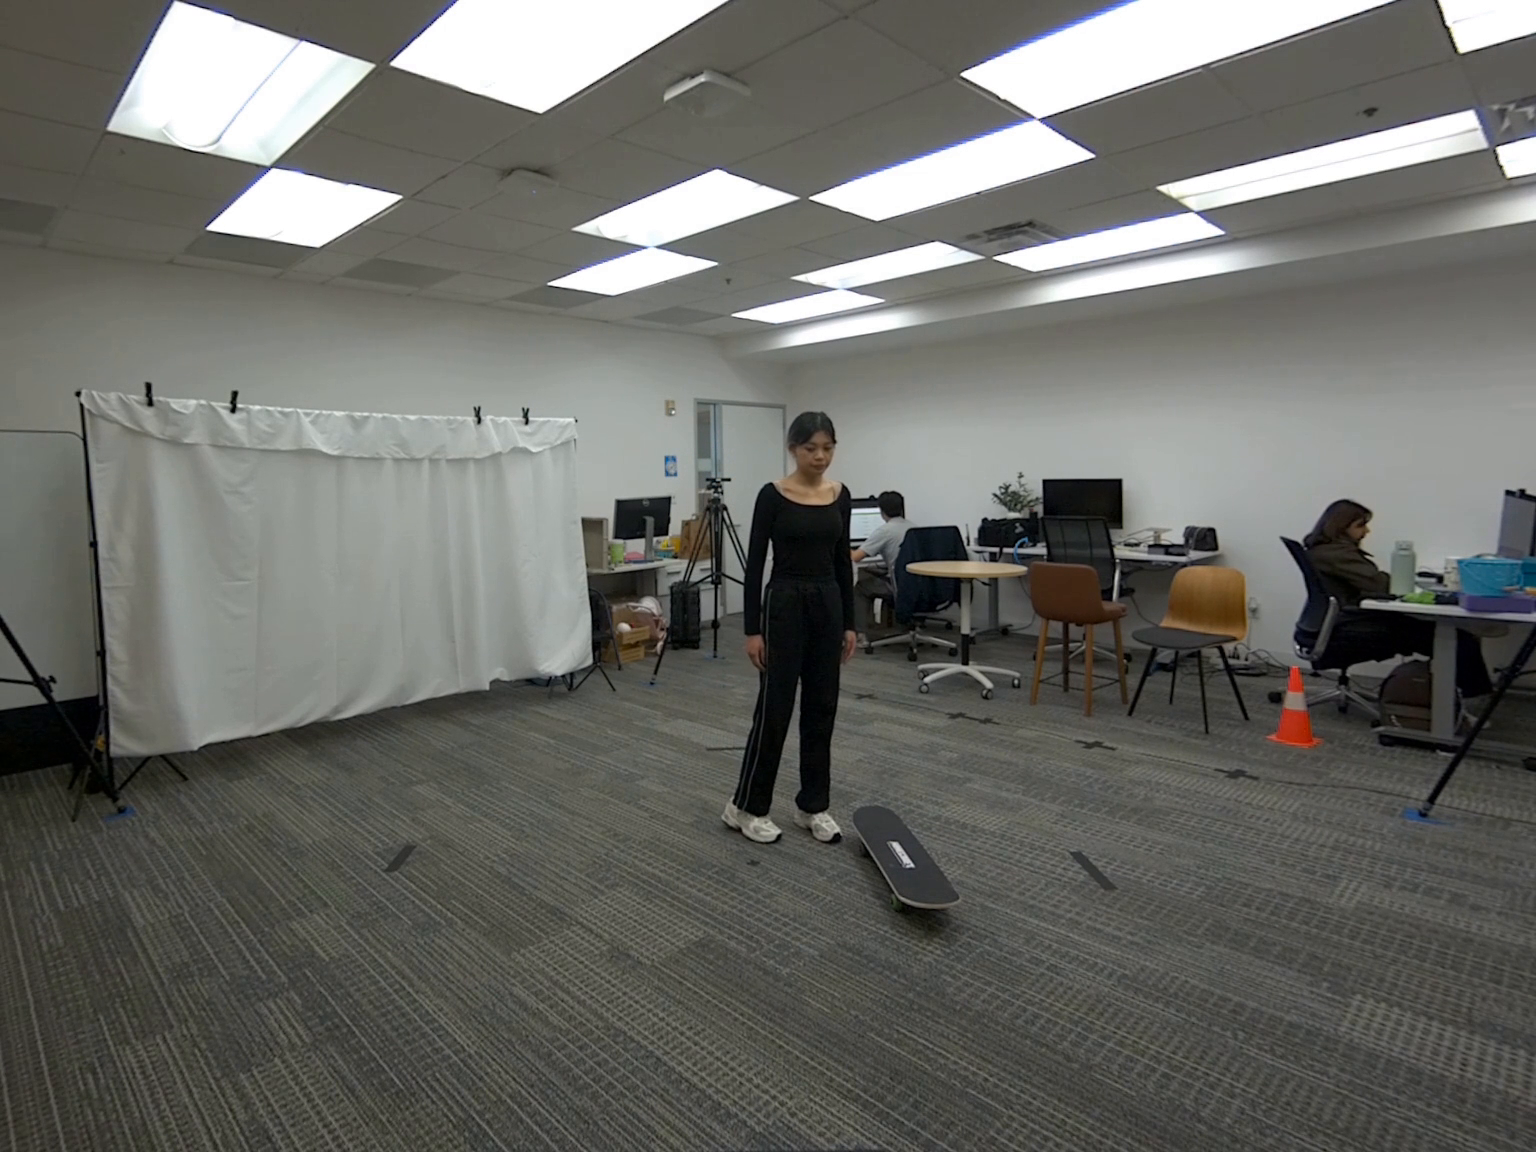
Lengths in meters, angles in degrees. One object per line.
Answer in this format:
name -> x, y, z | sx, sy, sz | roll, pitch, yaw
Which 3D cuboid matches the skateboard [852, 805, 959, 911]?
skateboard -> 0.468, 0.997, 2.955 | 0.192, 0.110, 0.793 | -2, 6, -7
